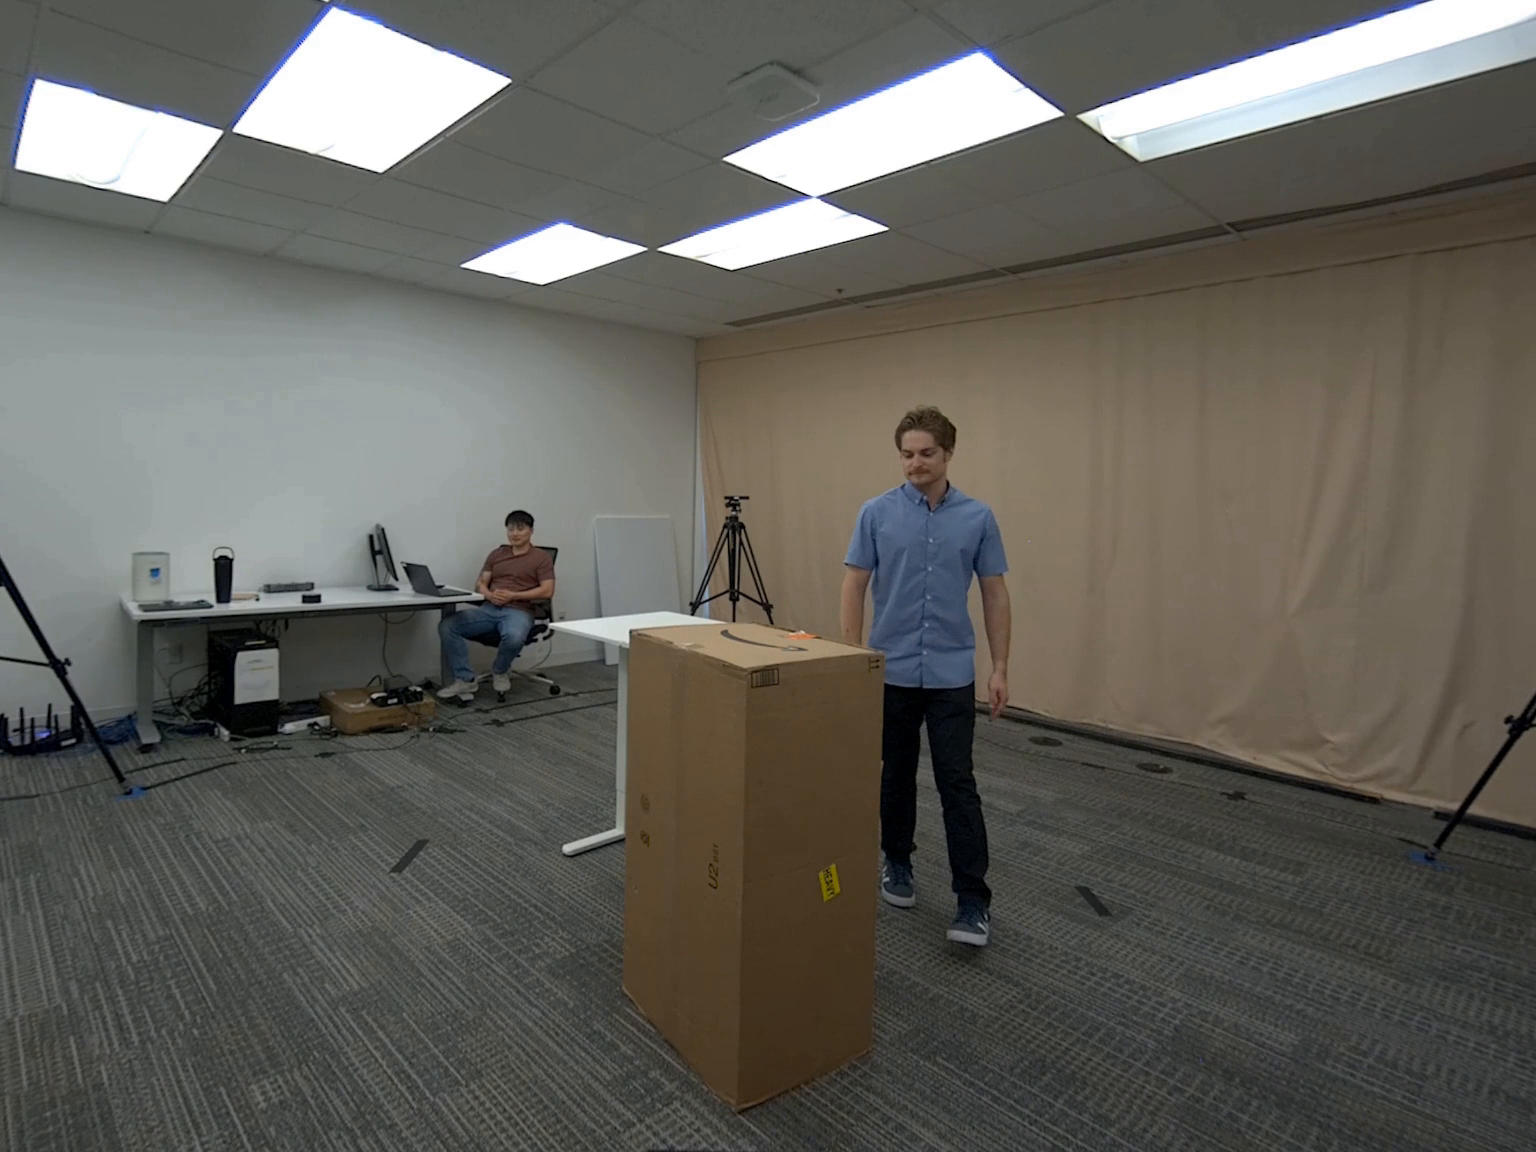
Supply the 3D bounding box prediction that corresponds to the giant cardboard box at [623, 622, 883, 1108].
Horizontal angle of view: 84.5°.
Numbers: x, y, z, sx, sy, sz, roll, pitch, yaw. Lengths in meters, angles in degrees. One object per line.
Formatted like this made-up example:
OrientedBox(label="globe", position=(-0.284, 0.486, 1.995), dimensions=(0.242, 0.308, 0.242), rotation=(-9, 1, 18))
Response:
OrientedBox(label="giant cardboard box", position=(-0.061, 0.679, 2.223), dimensions=(0.417, 1.023, 0.592), rotation=(-1, 4, -36))
